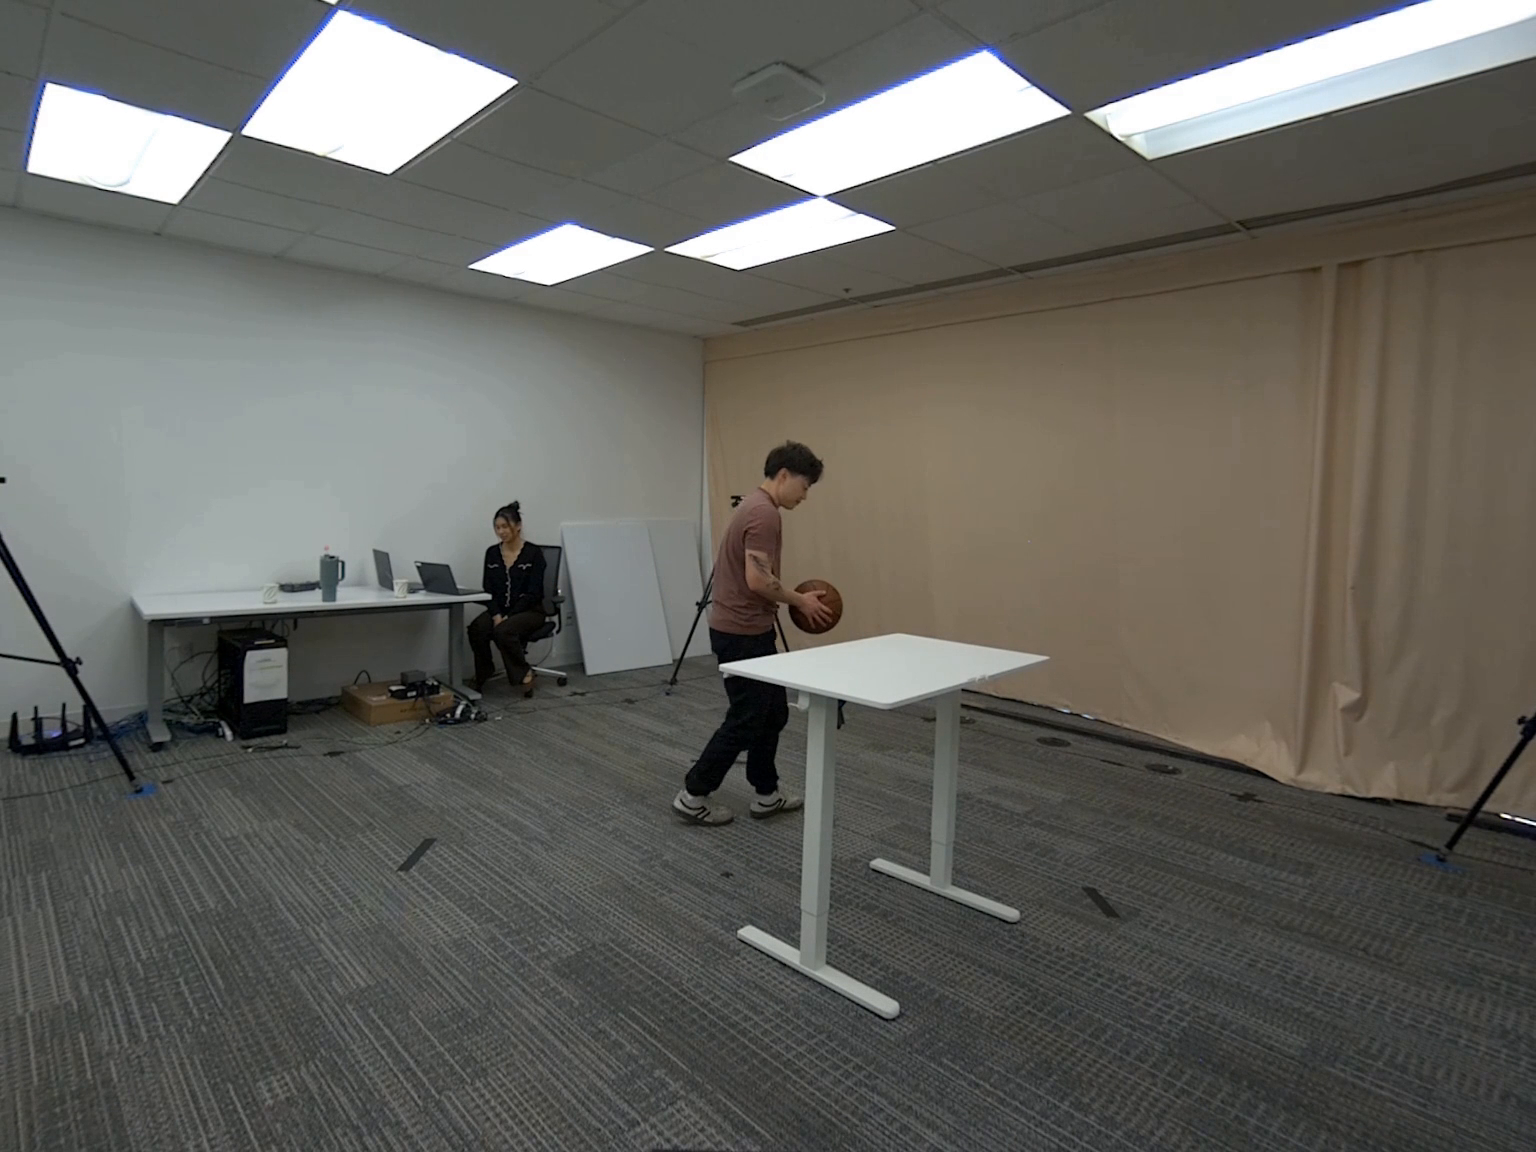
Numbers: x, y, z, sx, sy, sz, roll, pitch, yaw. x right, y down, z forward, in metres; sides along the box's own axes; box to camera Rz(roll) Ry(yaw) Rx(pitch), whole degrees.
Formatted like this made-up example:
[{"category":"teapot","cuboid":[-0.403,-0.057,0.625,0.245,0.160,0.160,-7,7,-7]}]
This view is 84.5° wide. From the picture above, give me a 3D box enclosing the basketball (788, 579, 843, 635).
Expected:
[{"category":"basketball","cuboid":[0.195,0.134,3.639,0.236,0.235,0.237,1,4,-1]}]
